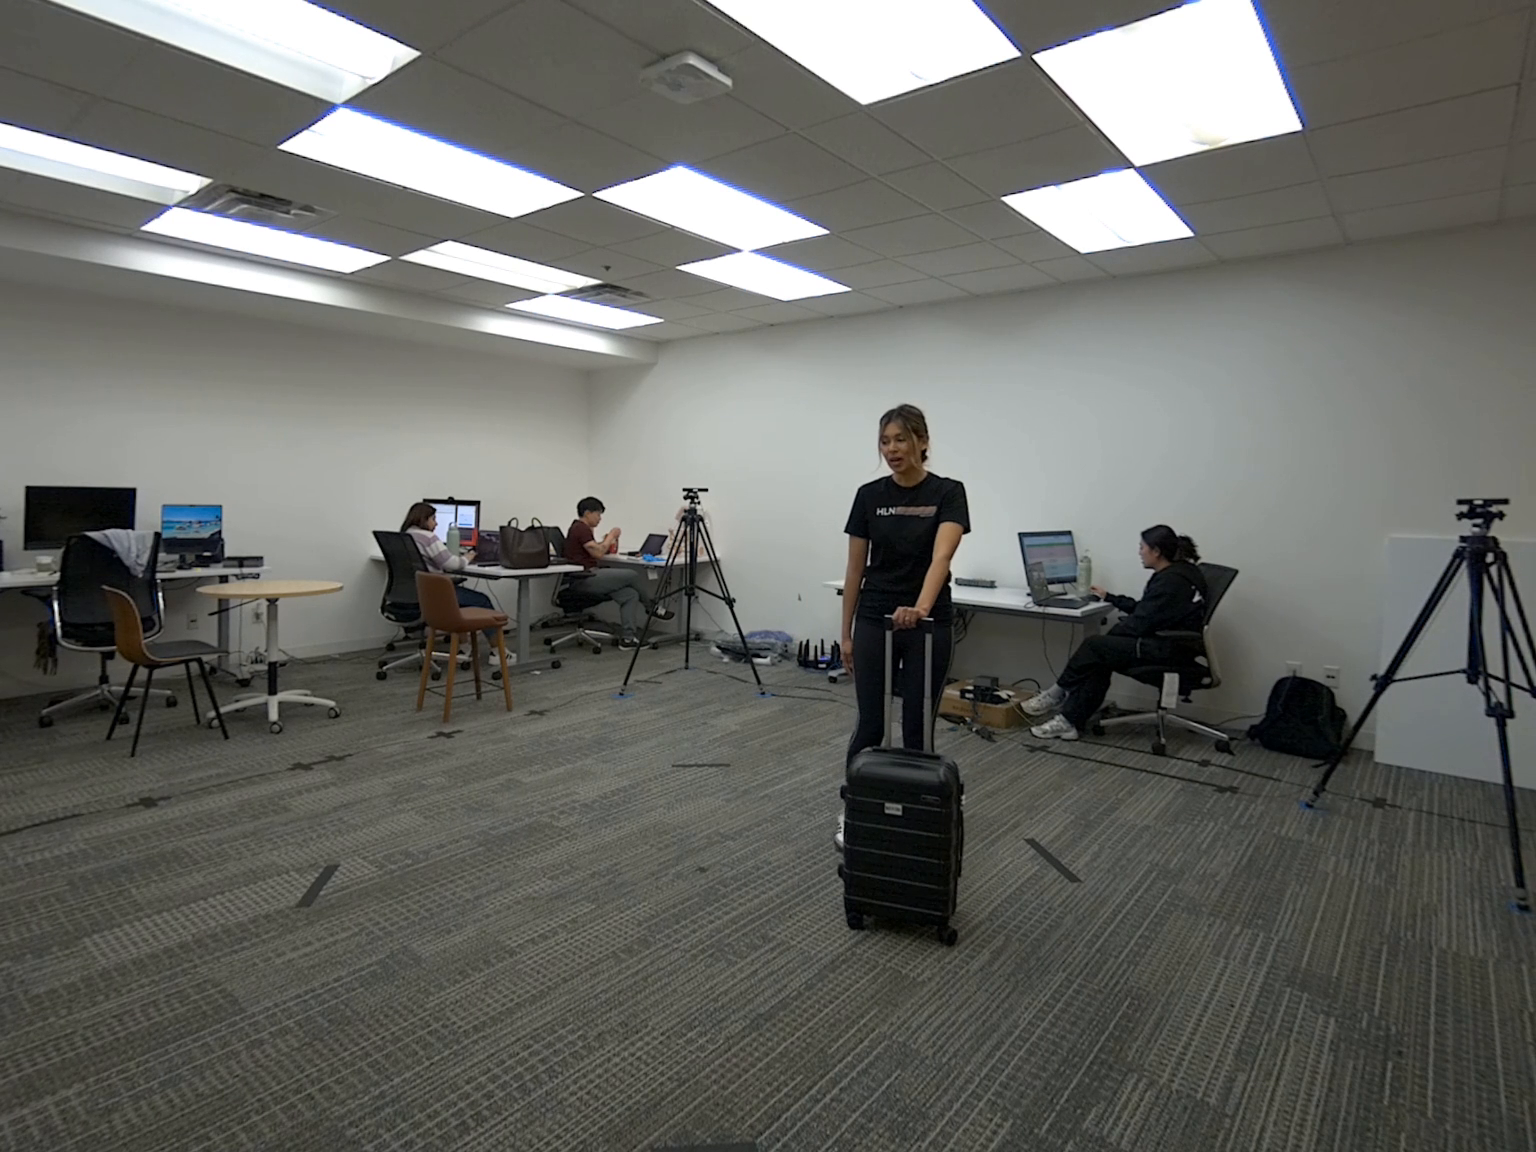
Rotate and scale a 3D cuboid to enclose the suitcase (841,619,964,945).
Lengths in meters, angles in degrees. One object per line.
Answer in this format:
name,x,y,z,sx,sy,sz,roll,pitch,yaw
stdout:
suitcase,0.436,0.642,2.738,0.392,0.973,0.253,2,6,18
